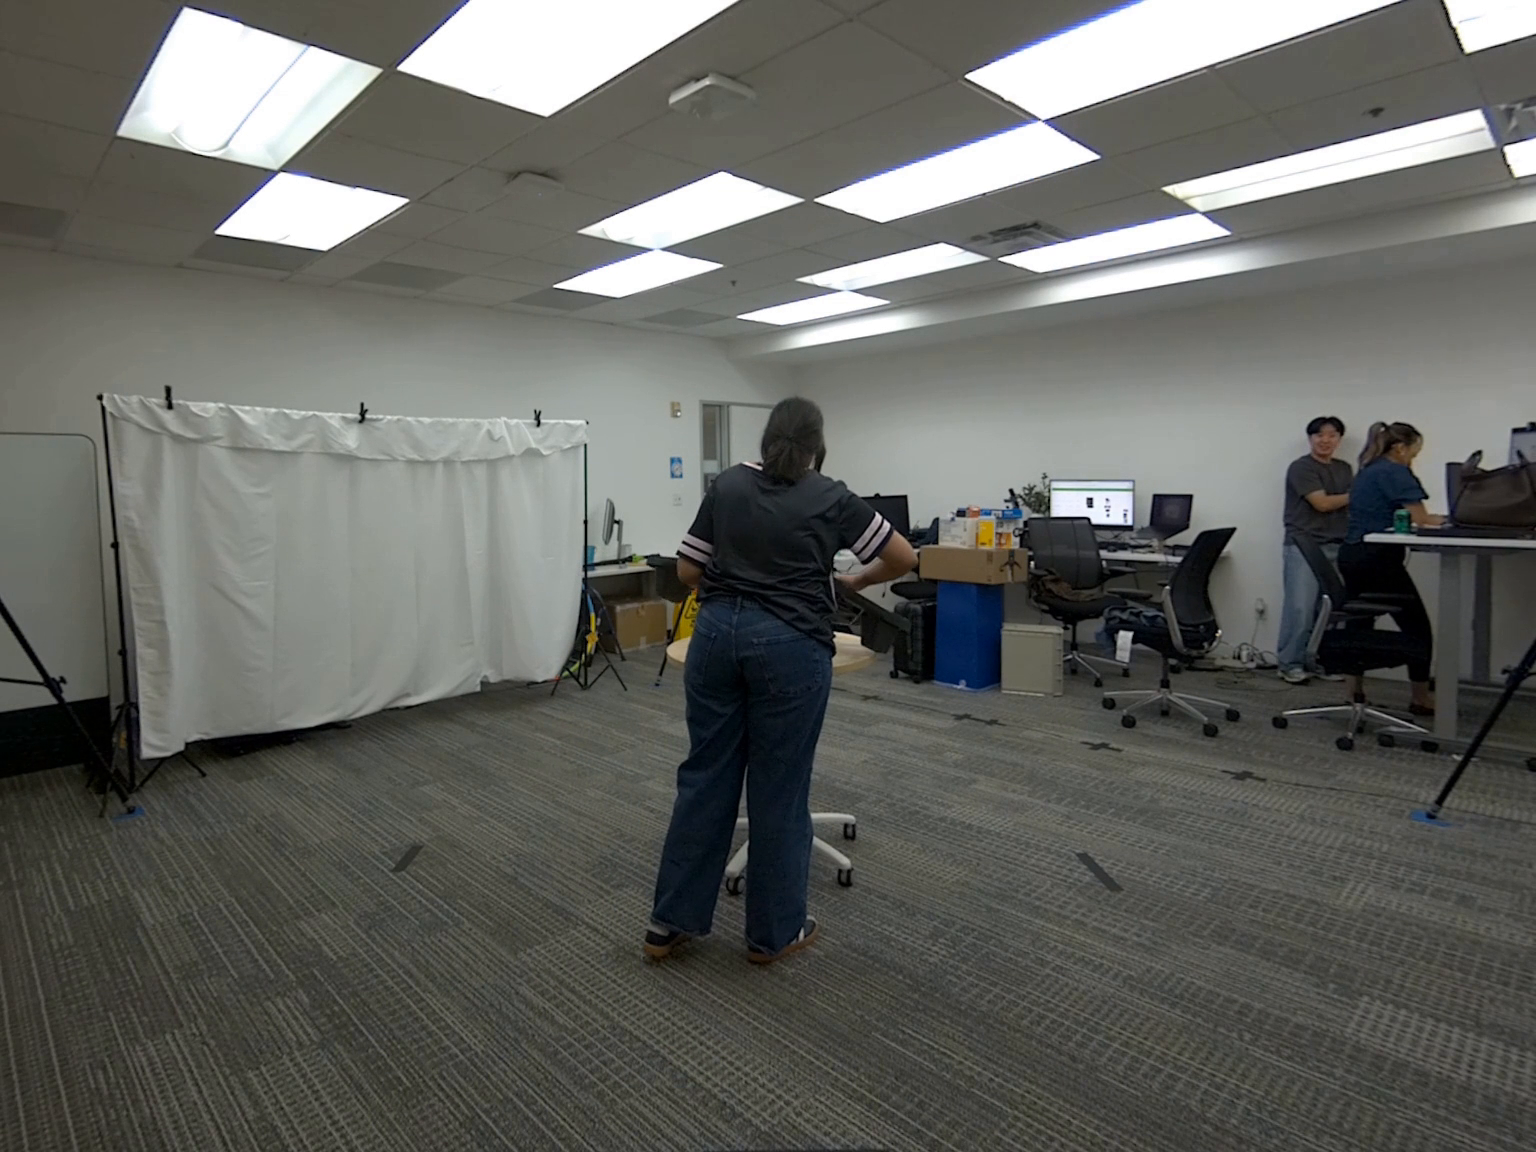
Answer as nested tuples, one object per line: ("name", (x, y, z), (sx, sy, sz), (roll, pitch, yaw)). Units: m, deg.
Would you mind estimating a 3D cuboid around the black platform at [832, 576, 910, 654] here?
("black platform", (0.022, 0.110, 3.065), (0.830, 0.144, 0.582), (5, -16, 43))
